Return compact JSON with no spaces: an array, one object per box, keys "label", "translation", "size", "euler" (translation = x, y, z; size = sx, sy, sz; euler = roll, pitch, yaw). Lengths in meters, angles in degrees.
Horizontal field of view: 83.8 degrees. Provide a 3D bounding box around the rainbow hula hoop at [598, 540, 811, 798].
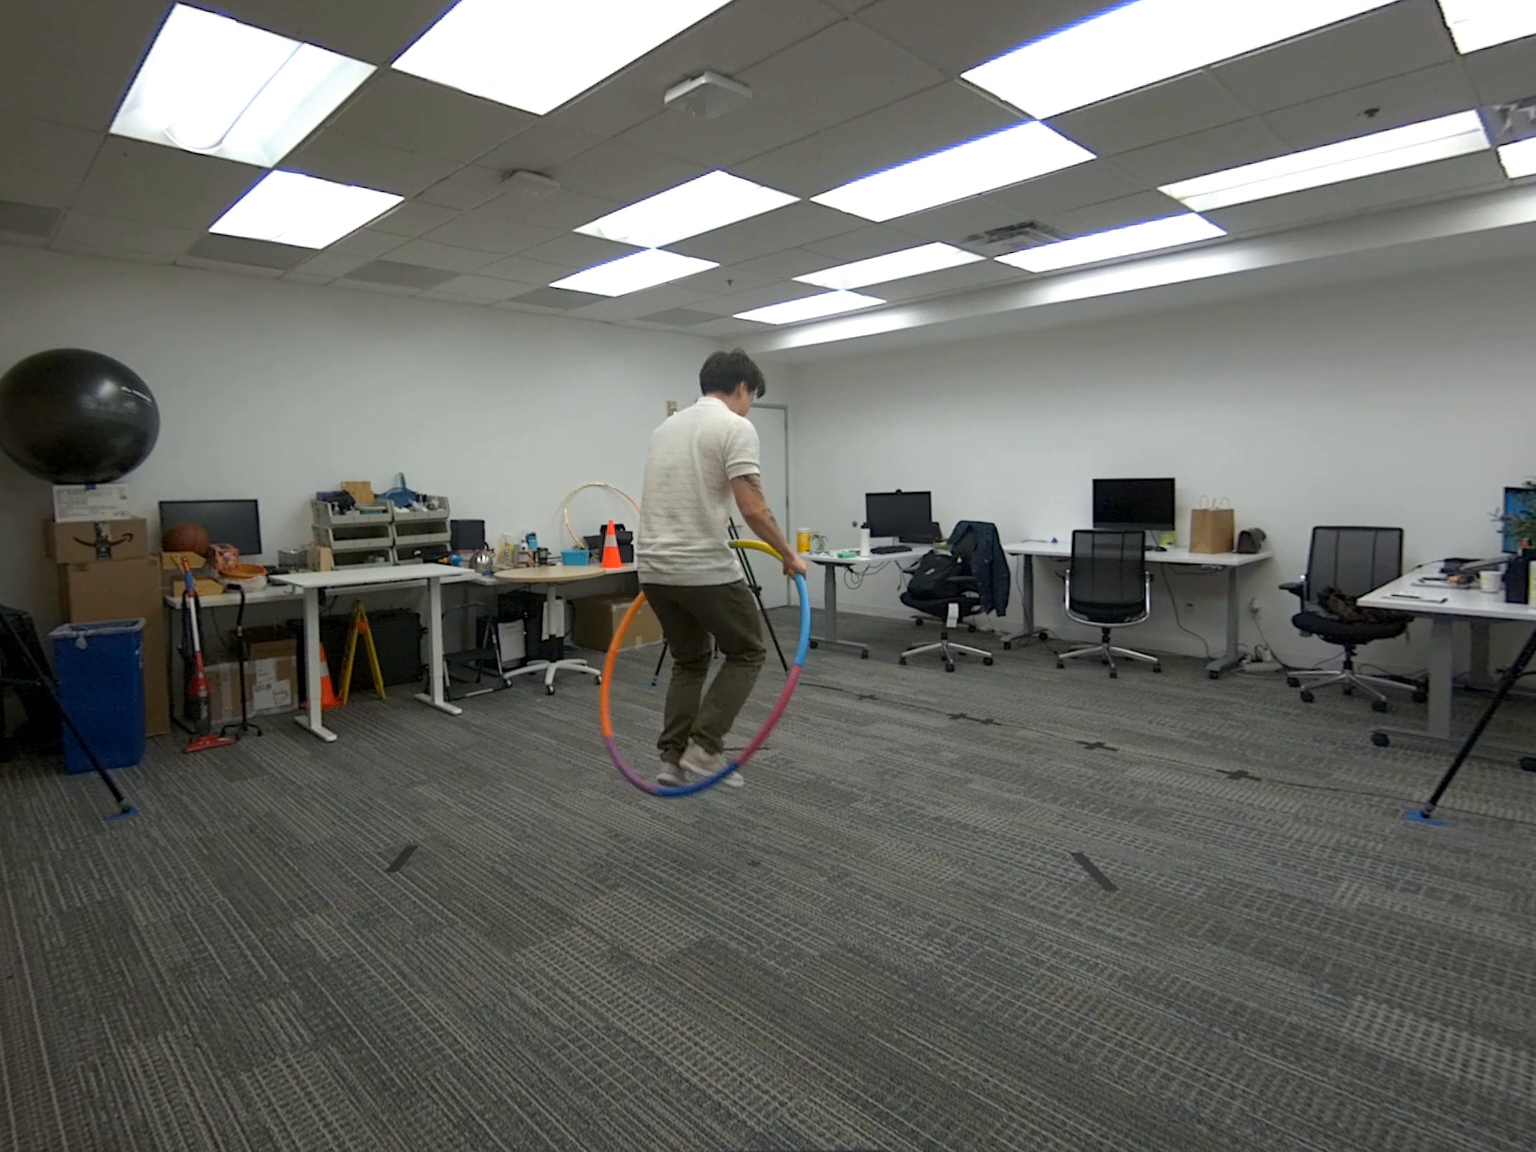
[{"label":"rainbow hula hoop","translation":[-0.219,0.262,3.144],"size":[1.009,0.987,0.034],"euler":[4,-24,43]}]
